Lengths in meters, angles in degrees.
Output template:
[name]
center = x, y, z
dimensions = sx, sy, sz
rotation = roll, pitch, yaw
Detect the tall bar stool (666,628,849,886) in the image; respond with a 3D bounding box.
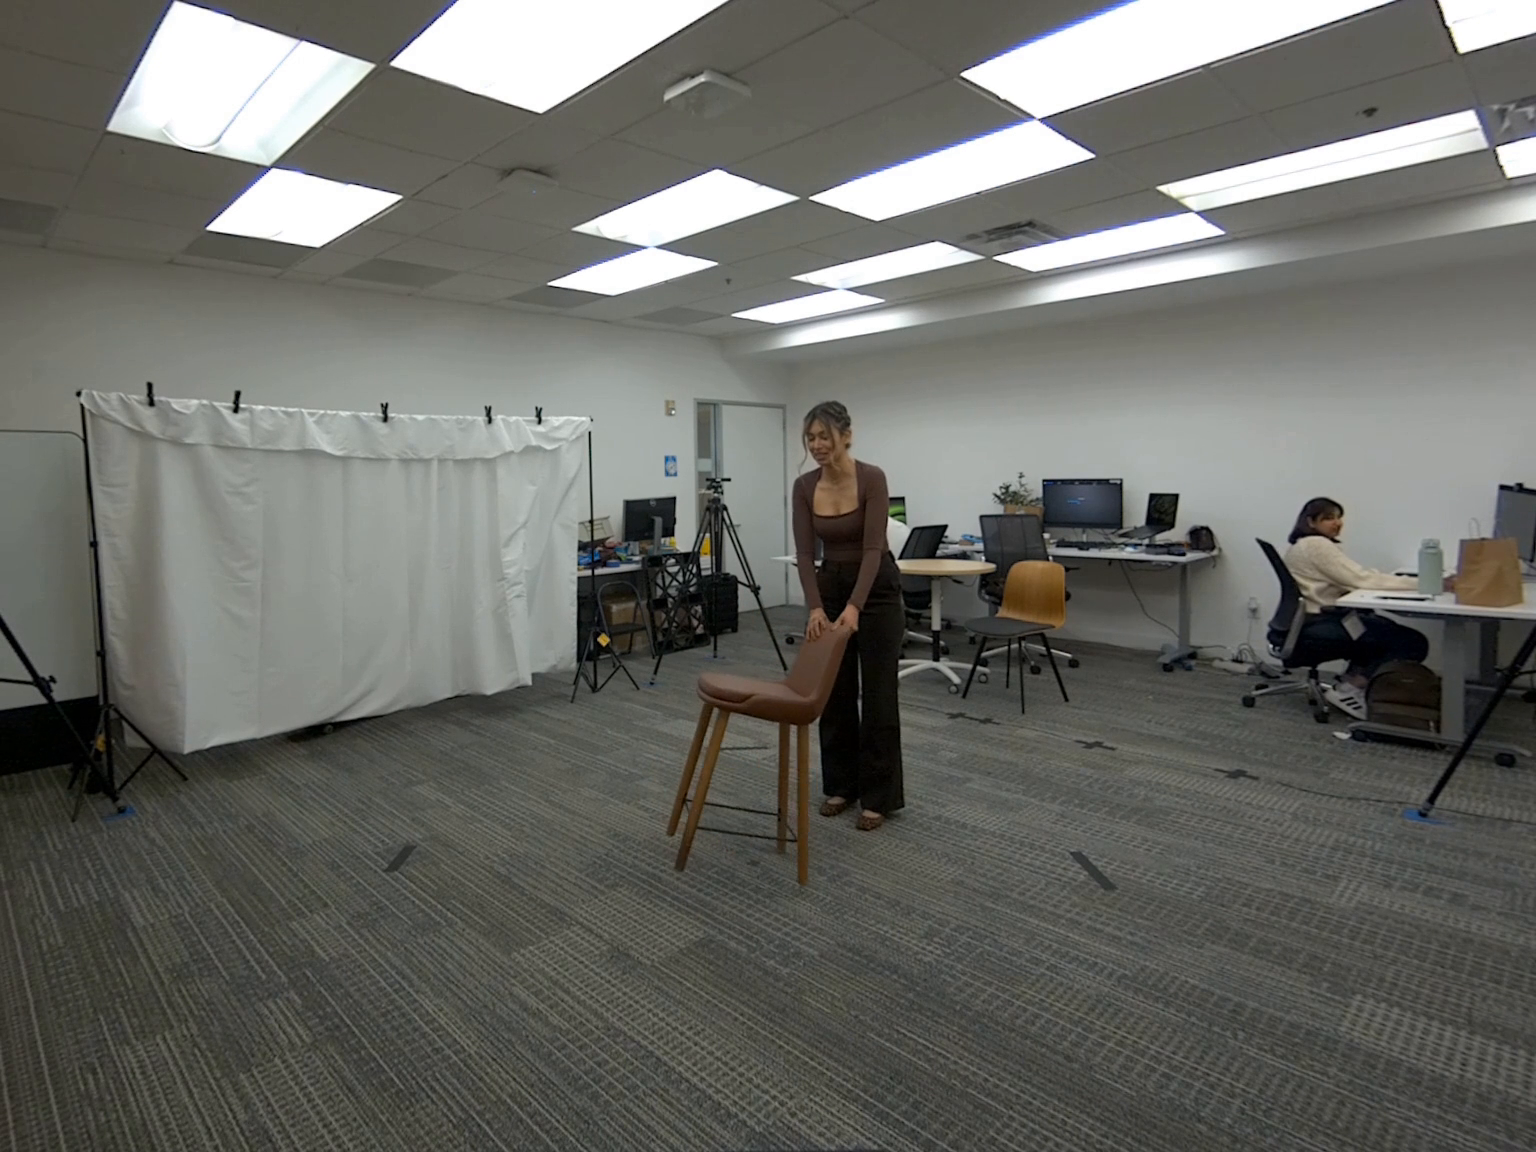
[tall bar stool]
center = -0.039, 0.570, 3.022
dimensions = 0.463, 0.892, 0.460
rotation = 12, -3, -9
